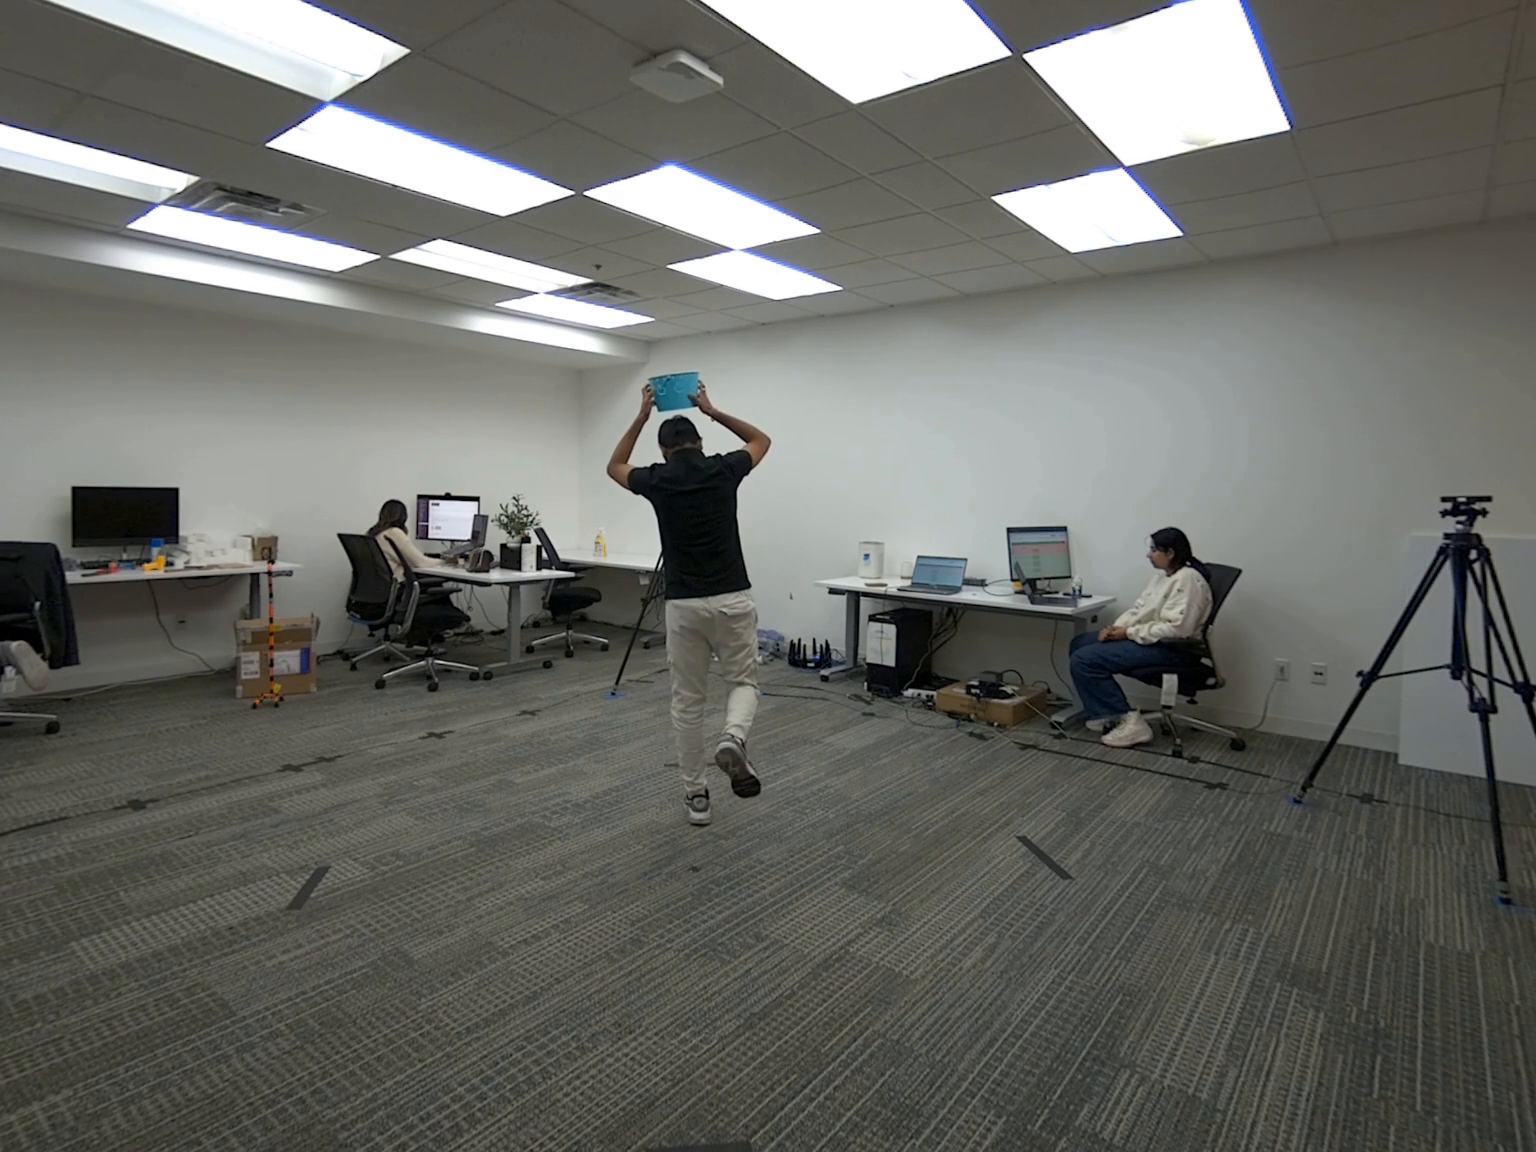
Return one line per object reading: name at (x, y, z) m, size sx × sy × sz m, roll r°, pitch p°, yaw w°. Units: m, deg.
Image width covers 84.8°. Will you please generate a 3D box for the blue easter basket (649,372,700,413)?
blue easter basket at (-0.415, -0.818, 3.767) m, size 0.243 × 0.154 × 0.246 m, roll -9°, pitch 8°, yaw -1°
